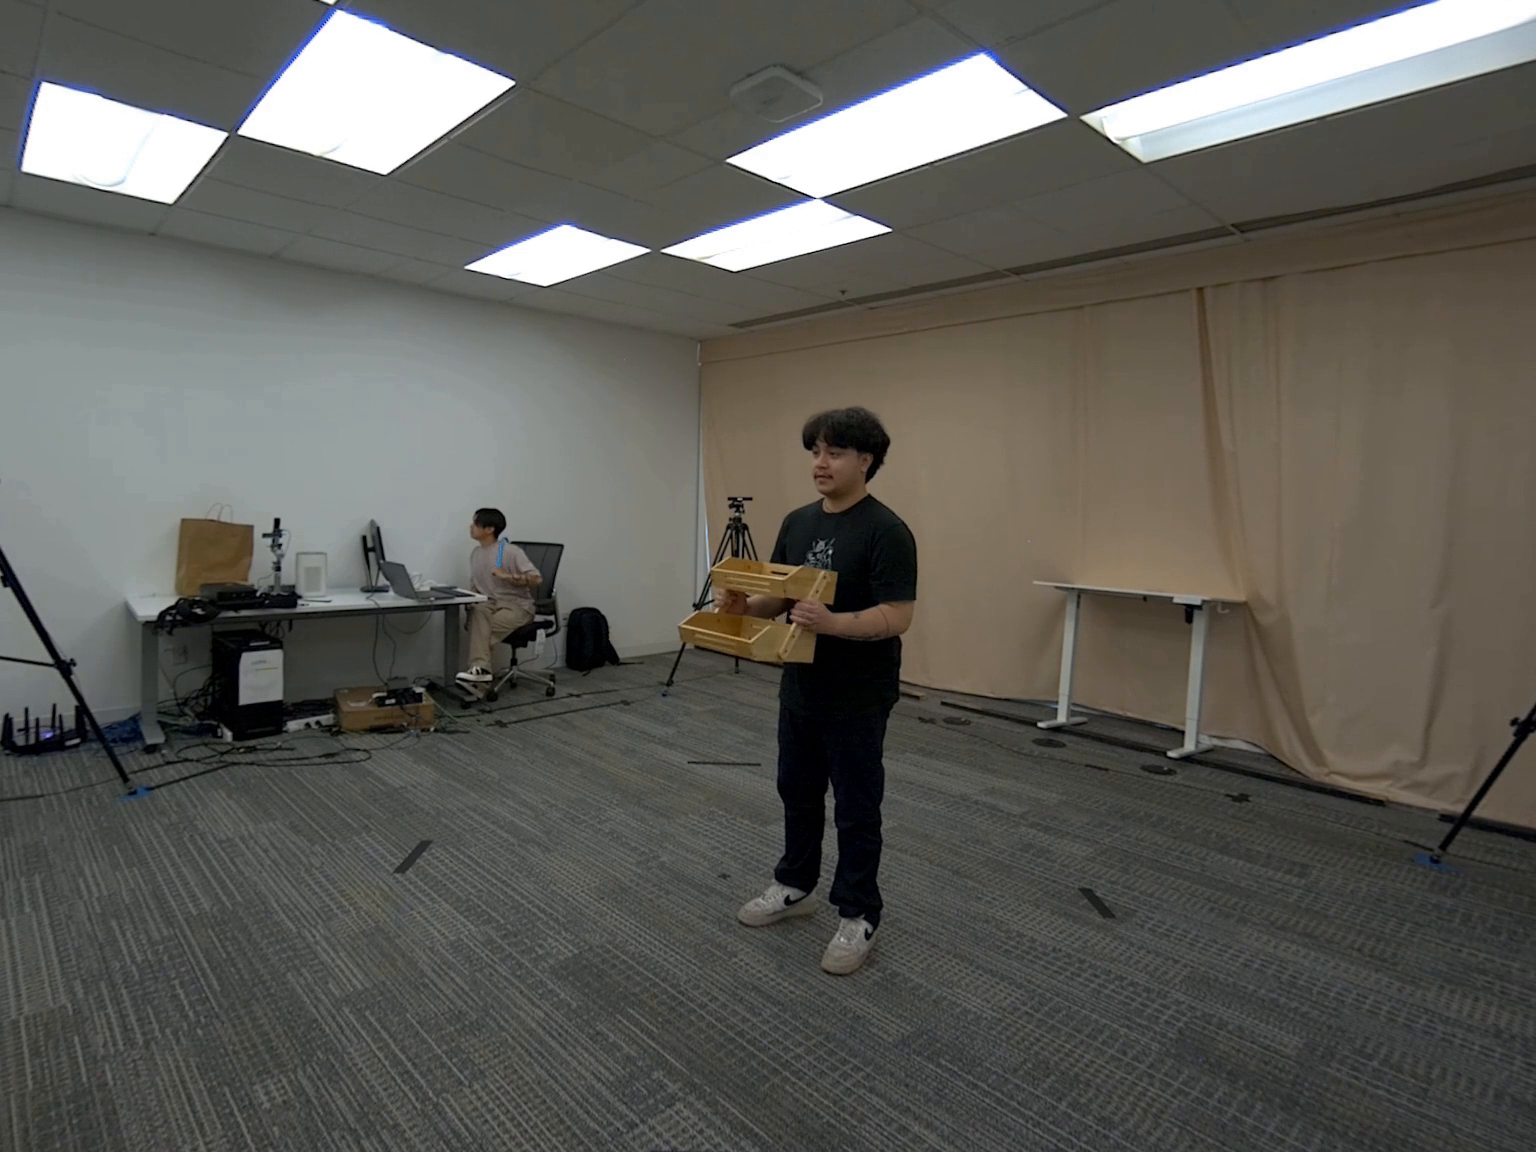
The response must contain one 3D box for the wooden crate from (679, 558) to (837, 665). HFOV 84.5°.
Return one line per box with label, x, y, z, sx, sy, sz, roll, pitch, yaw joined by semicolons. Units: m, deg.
wooden crate;-0.038;0.084;2.370;0.294;0.273;0.333;8;-1;-44
